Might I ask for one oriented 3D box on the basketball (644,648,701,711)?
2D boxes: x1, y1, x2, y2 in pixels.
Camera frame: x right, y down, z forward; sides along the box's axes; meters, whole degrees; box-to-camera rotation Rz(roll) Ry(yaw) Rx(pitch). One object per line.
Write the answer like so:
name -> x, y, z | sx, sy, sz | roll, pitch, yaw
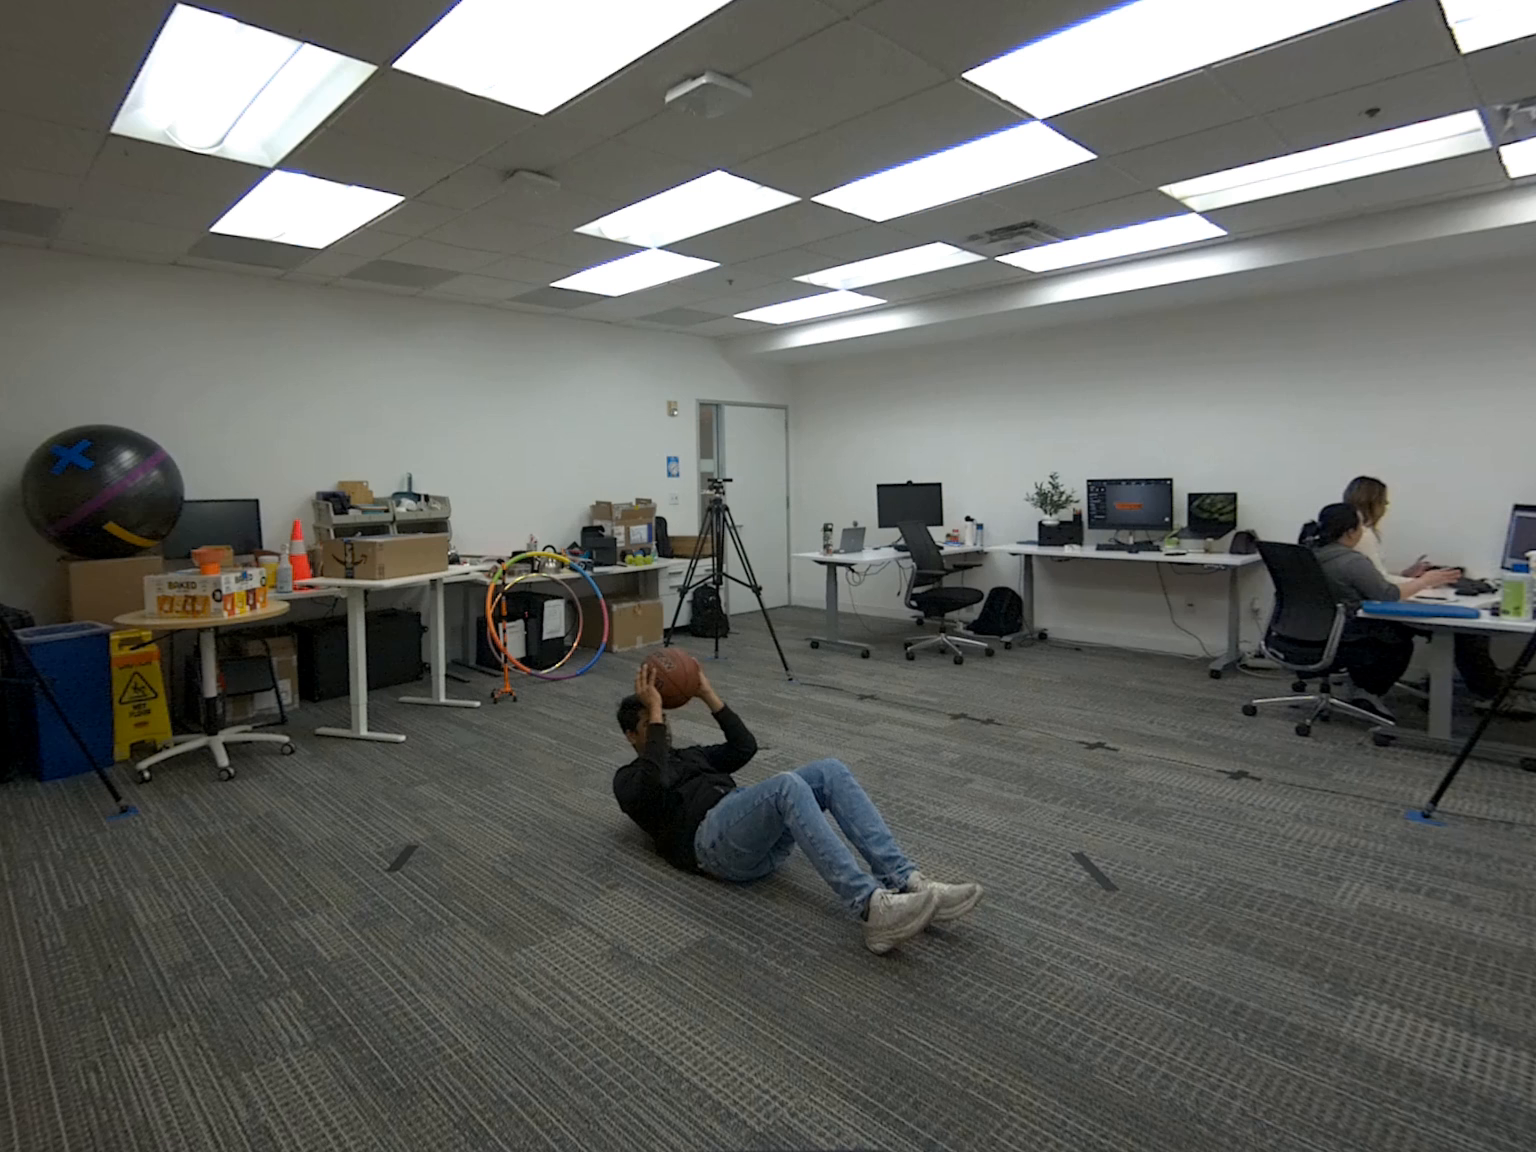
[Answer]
basketball -> -0.389, 0.405, 3.331 | 0.236, 0.235, 0.237 | -1, 5, -2
